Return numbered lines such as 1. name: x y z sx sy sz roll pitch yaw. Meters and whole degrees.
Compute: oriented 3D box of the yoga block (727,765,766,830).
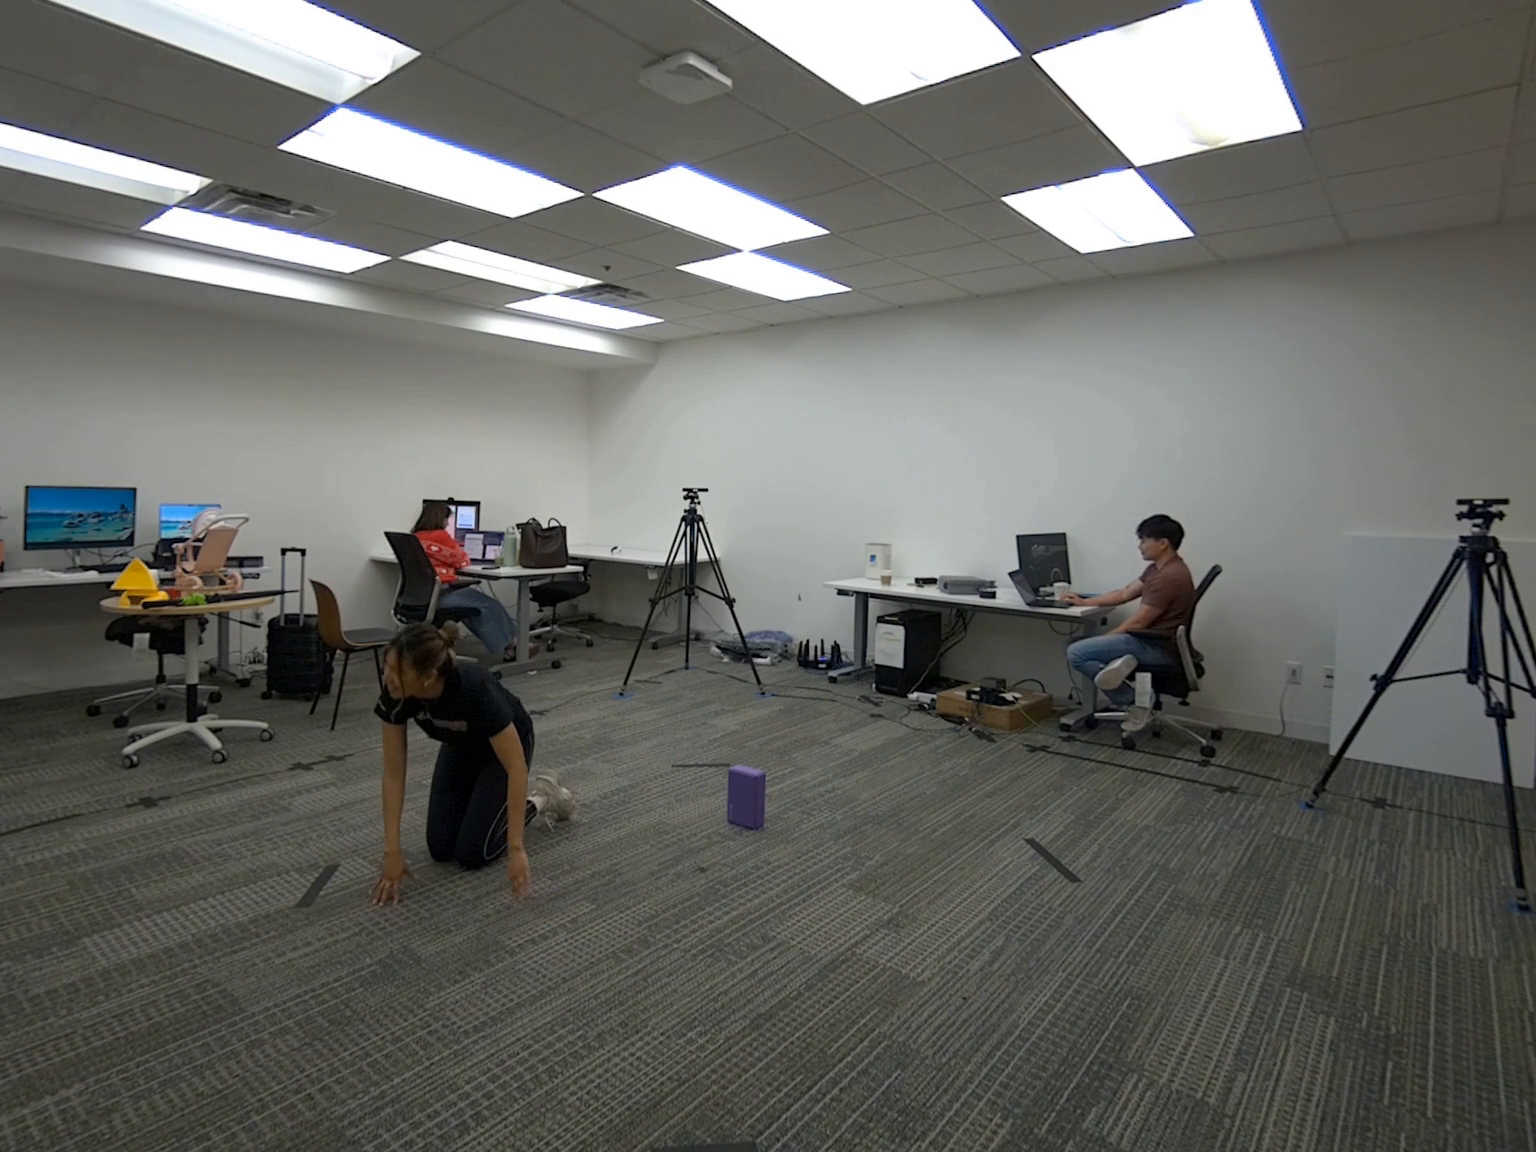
1. yoga block: -0.102 0.918 3.535 0.153 0.228 0.074 4 5 33
